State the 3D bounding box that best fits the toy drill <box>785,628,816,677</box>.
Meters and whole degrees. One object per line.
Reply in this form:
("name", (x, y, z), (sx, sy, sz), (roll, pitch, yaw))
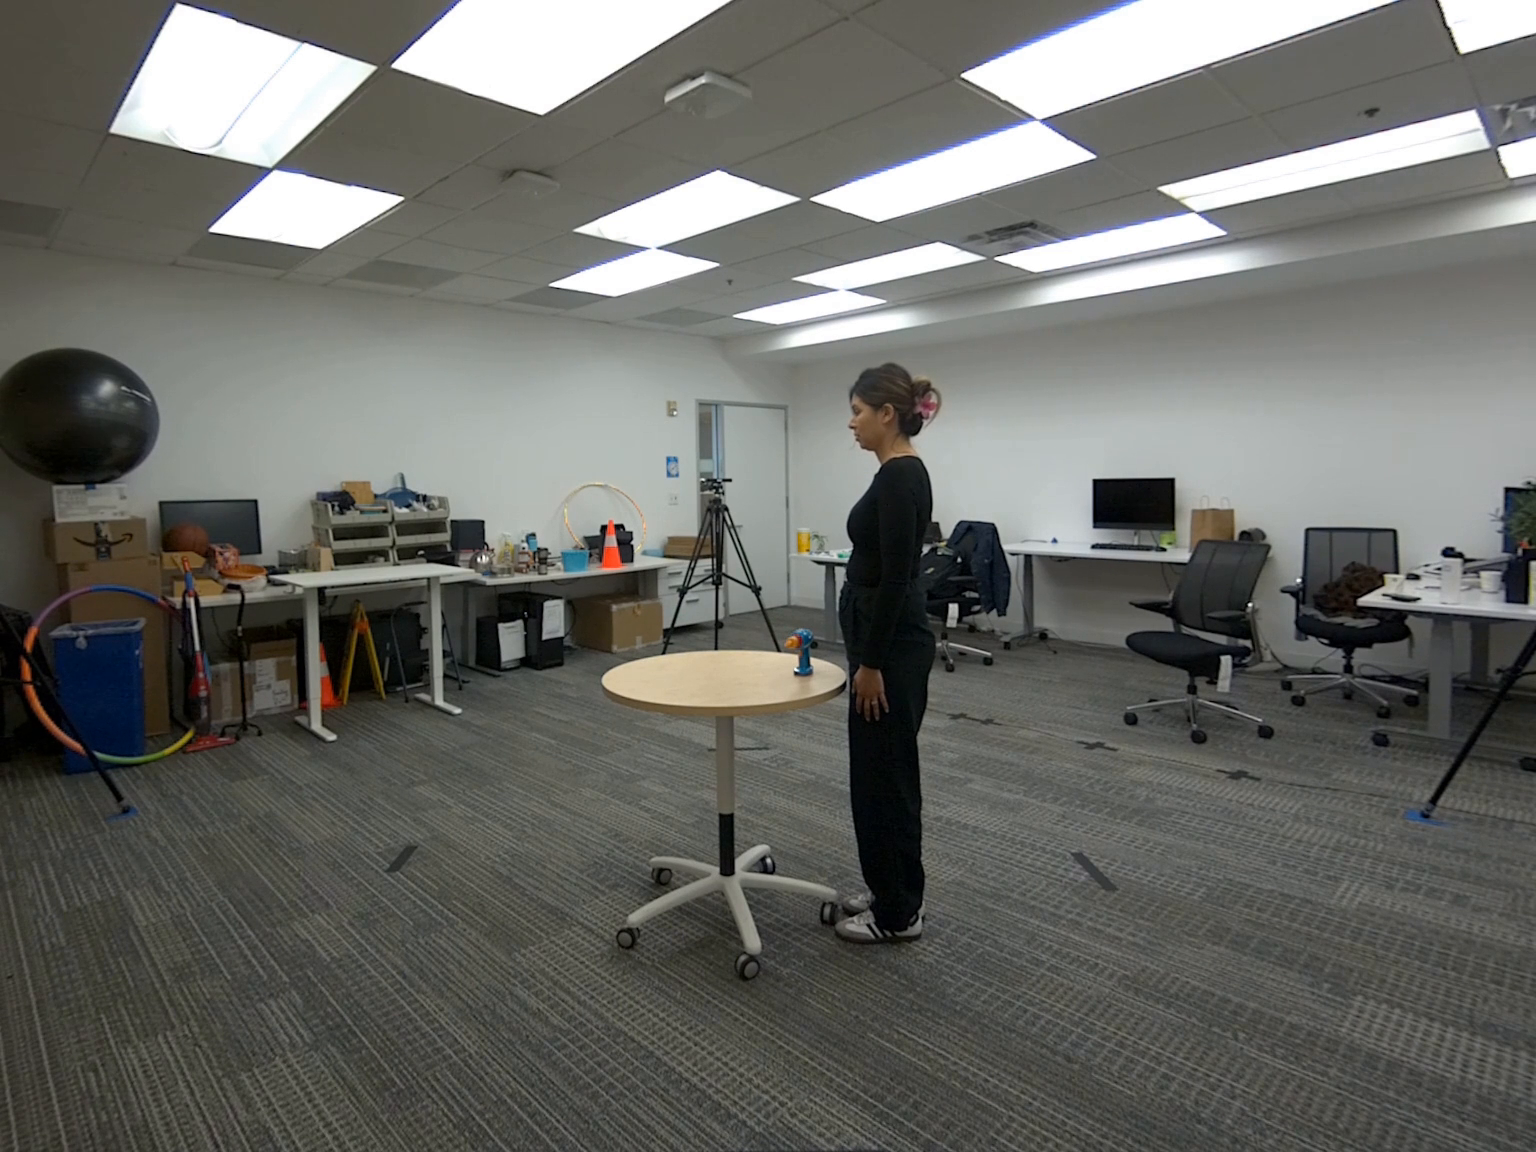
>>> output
("toy drill", (0.104, 0.238, 2.634), (0.062, 0.145, 0.166), (0, 5, 26))
